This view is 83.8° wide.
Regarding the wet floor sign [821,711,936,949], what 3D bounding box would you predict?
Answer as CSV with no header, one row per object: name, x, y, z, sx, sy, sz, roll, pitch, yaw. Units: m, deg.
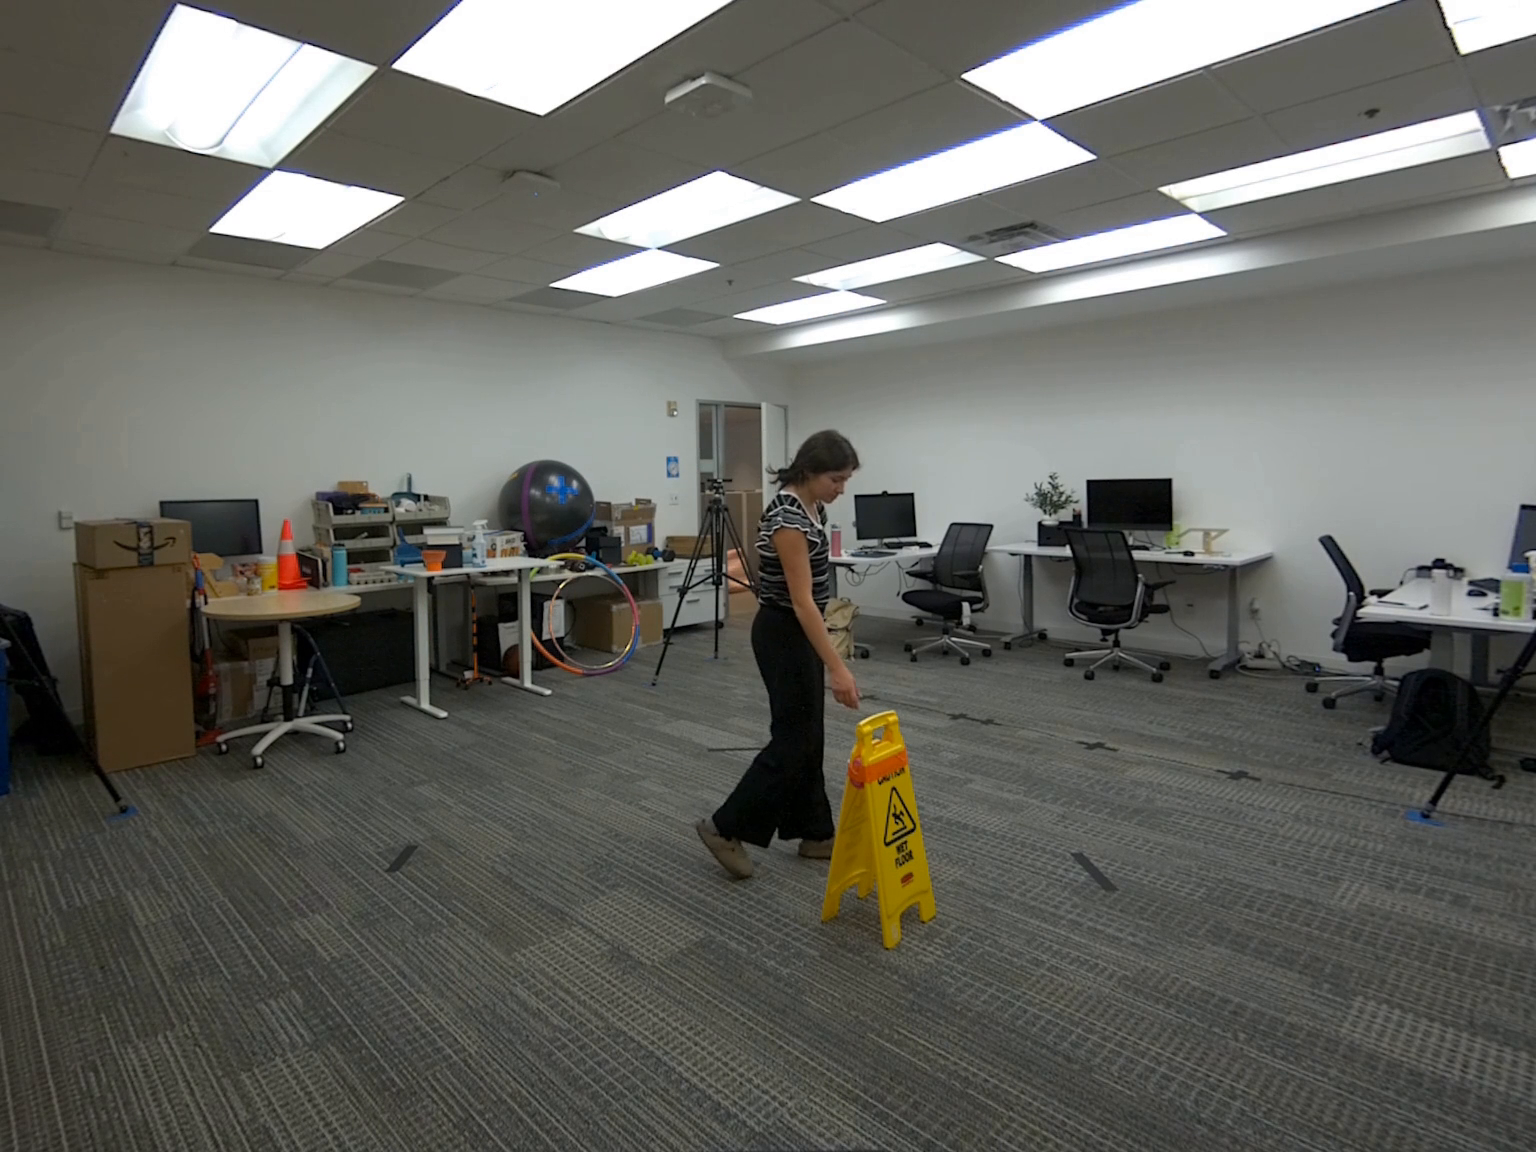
wet floor sign,0.348,0.761,2.683,0.299,0.643,0.275,5,7,42
